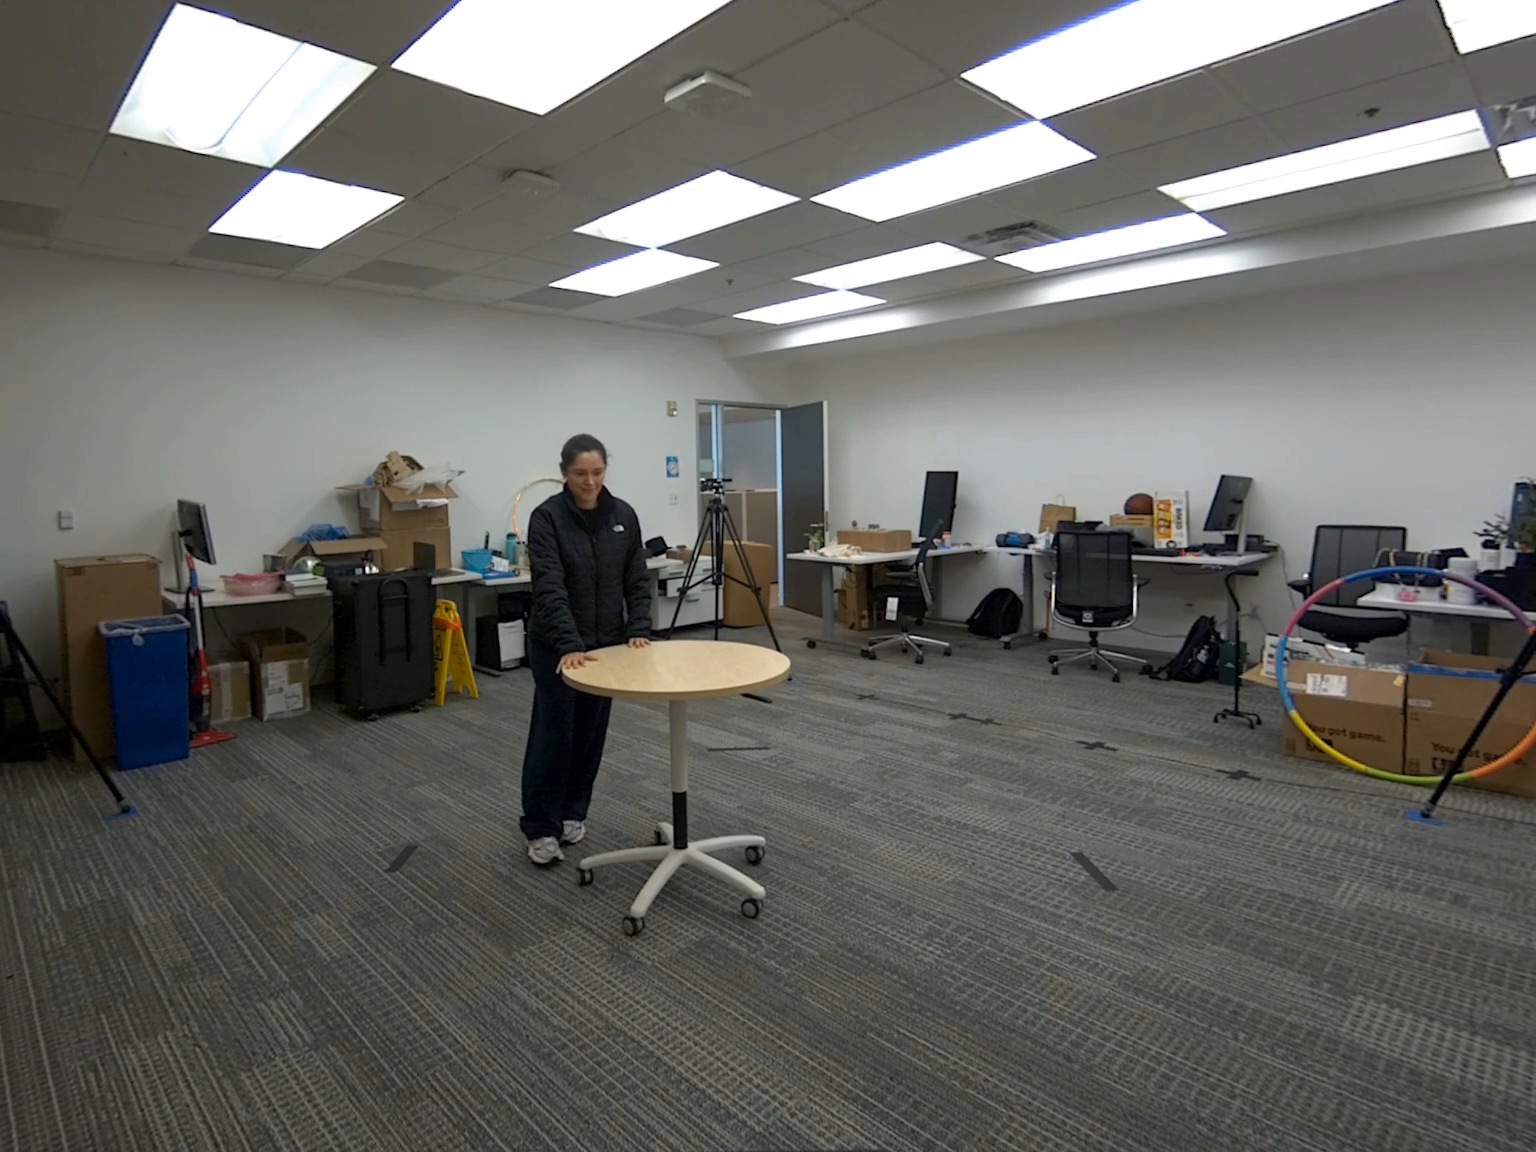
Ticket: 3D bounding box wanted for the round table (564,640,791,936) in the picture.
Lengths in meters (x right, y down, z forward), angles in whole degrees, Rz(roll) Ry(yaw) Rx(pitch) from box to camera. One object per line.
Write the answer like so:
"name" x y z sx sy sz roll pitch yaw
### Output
"round table" -0.313 0.677 2.924 0.784 0.783 0.790 -1 6 -2
